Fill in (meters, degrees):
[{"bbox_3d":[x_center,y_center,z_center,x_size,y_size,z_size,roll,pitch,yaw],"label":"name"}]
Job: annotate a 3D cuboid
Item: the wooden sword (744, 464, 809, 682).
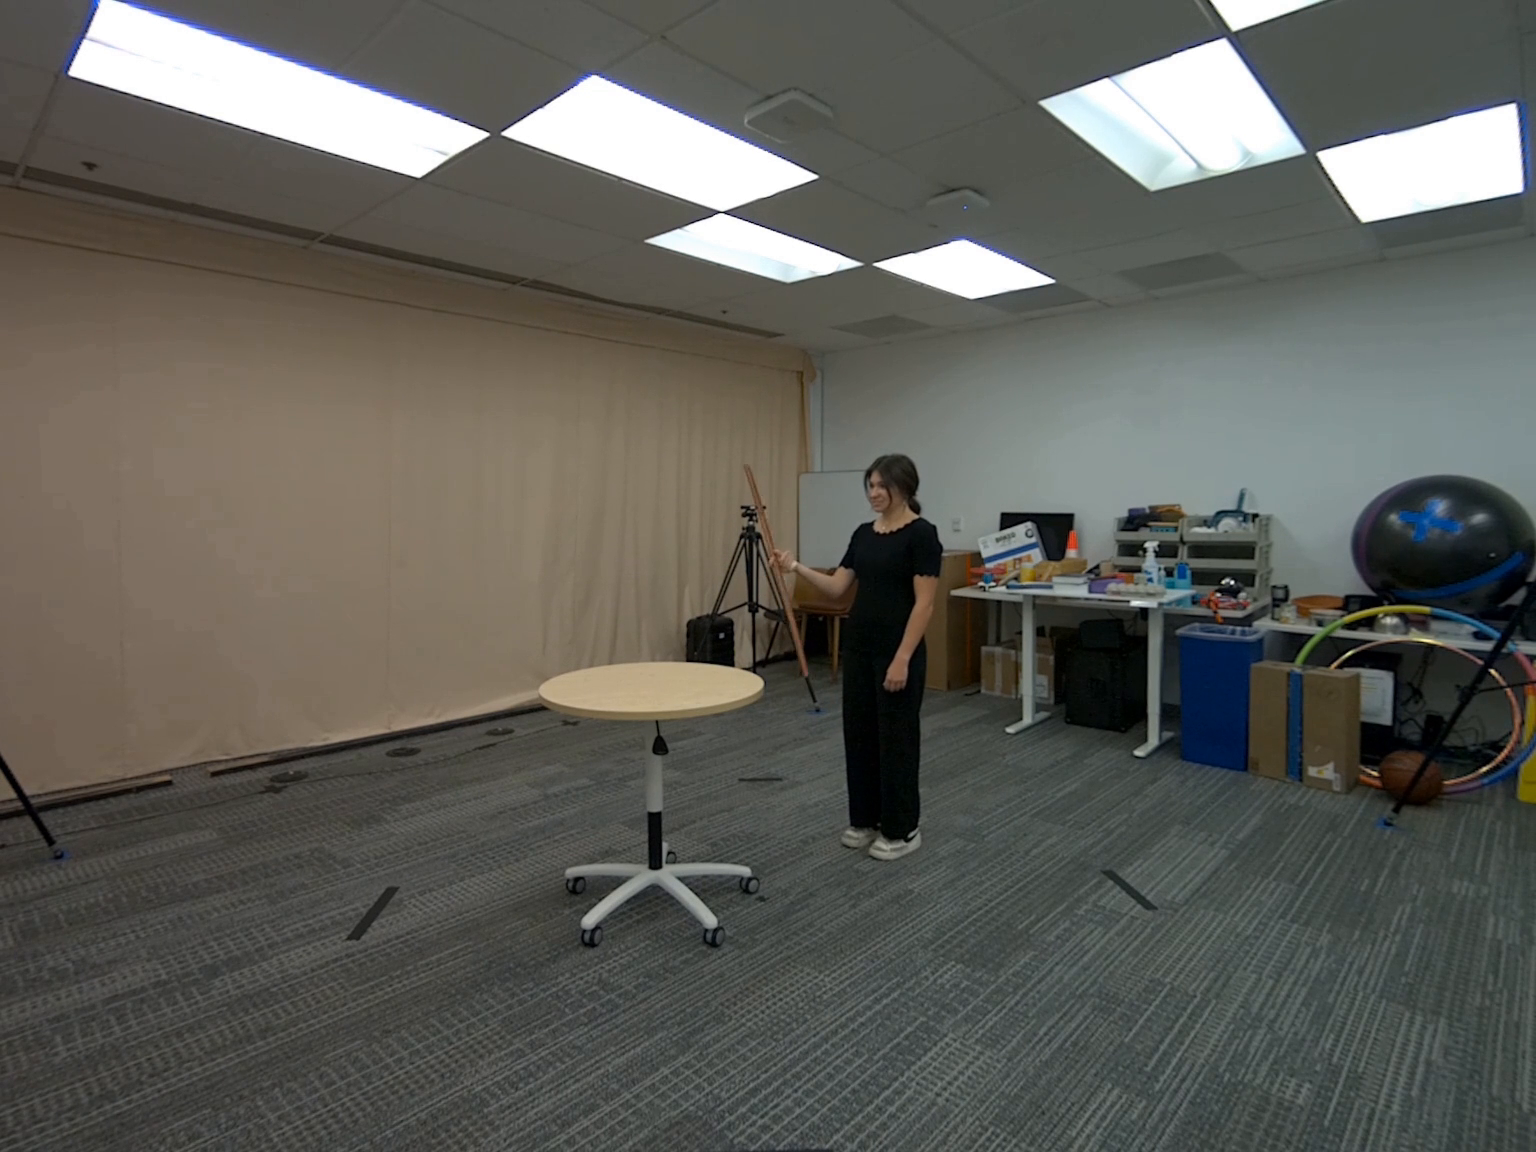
[{"bbox_3d":[0.048,-0.059,3.338,0.024,1.049,0.050,-12,-30,-11],"label":"wooden sword"}]
